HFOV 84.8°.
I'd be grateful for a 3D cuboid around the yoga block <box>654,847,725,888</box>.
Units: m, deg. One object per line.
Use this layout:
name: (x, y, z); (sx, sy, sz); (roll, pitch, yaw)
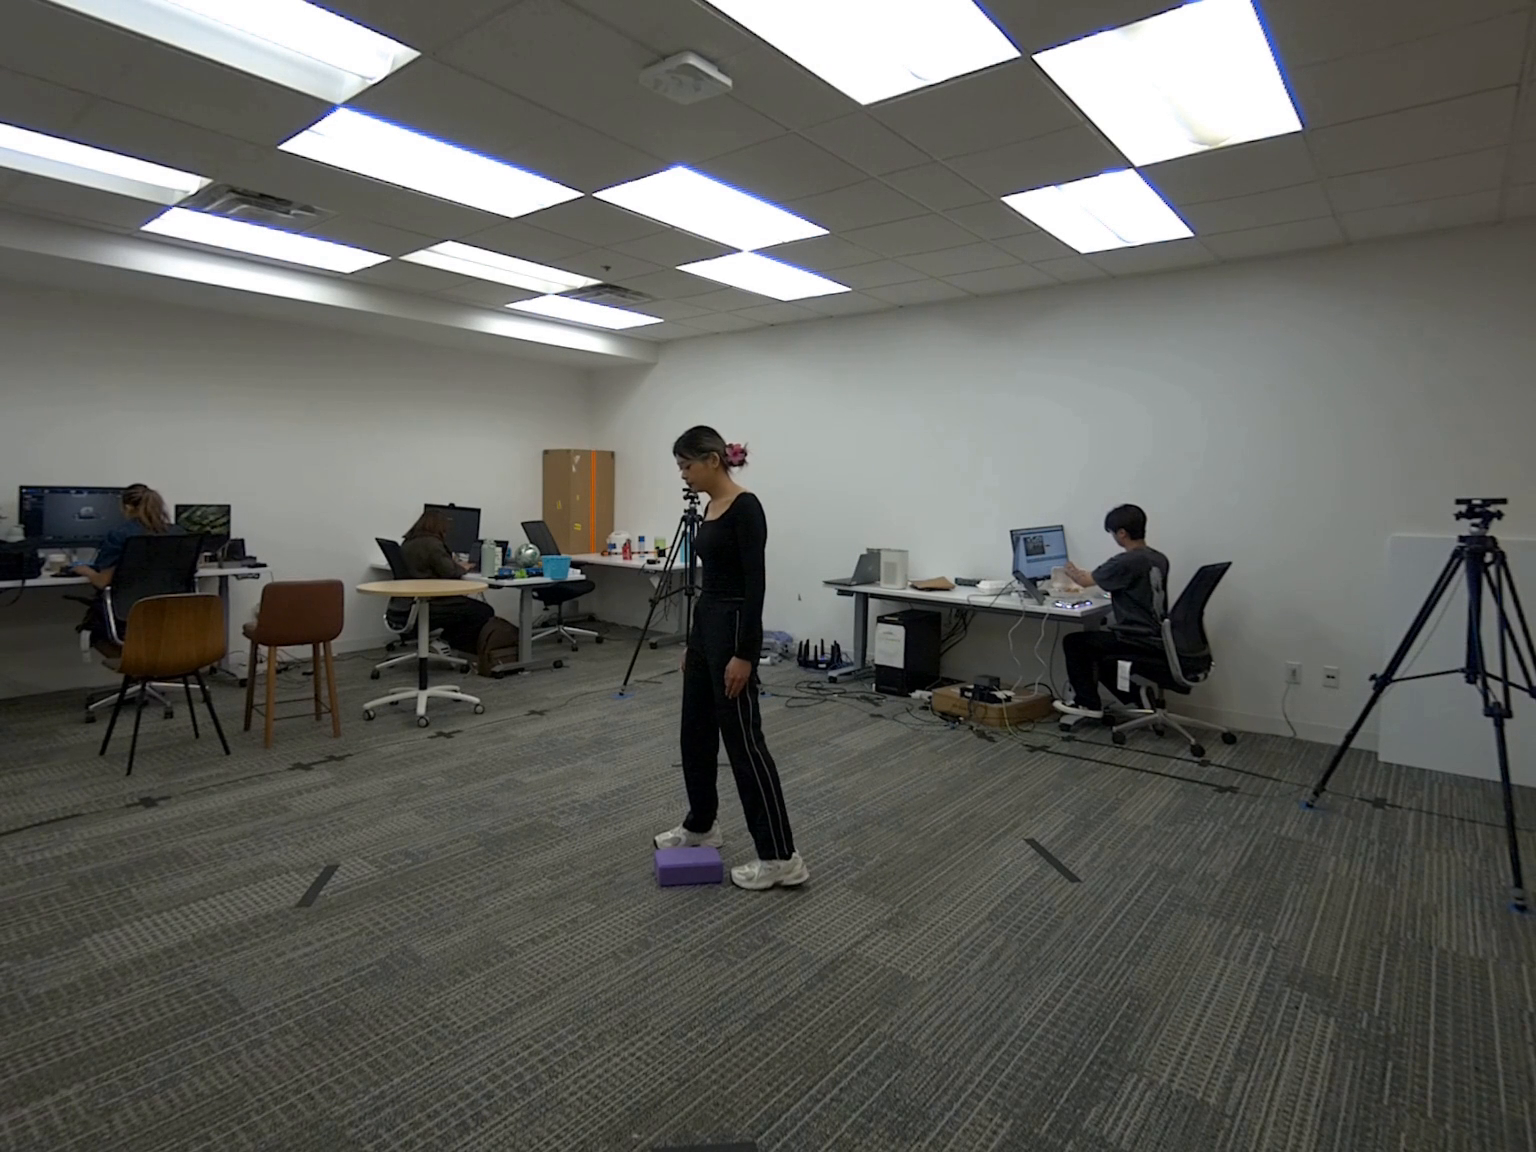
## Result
yoga block: (-0.295, 1.035, 3.054); (0.226, 0.076, 0.151); (1, 4, -13)
